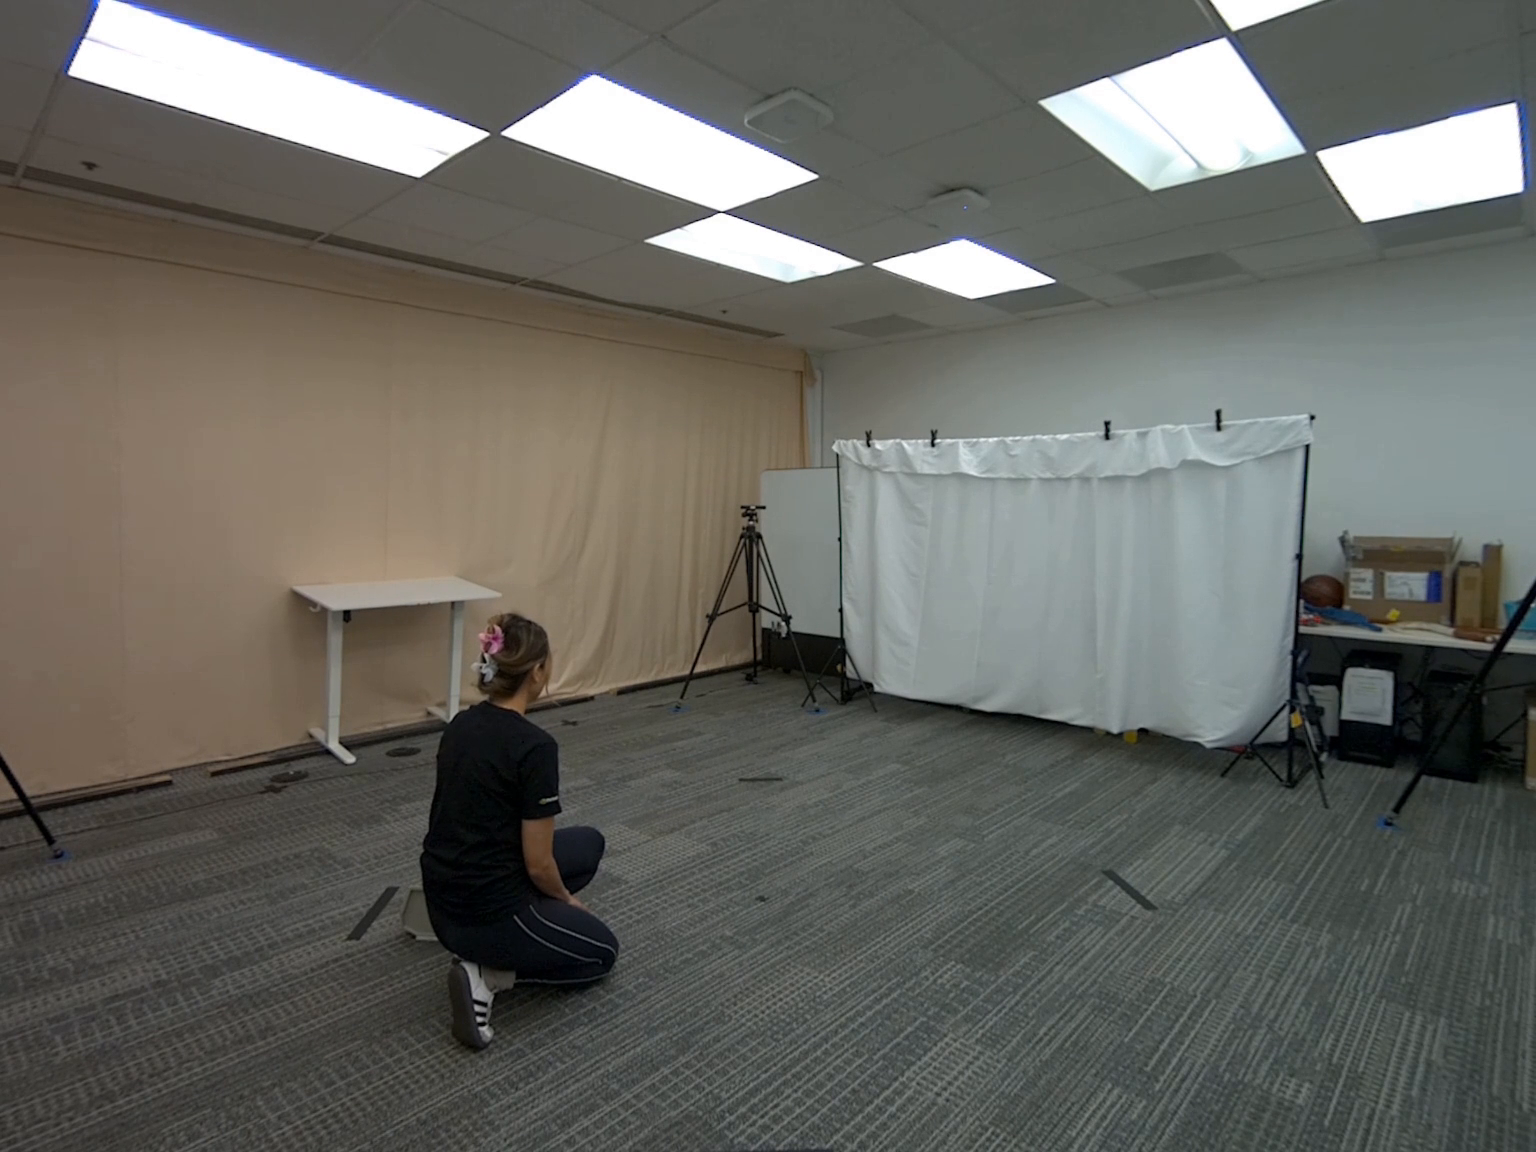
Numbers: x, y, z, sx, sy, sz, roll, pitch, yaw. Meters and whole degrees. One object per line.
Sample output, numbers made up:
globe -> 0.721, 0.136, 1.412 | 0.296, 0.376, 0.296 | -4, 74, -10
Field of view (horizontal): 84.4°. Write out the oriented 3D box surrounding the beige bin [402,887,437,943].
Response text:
beige bin -> -1.004, 1.073, 2.900 | 0.379, 0.188, 0.421 | 1, 4, 3
